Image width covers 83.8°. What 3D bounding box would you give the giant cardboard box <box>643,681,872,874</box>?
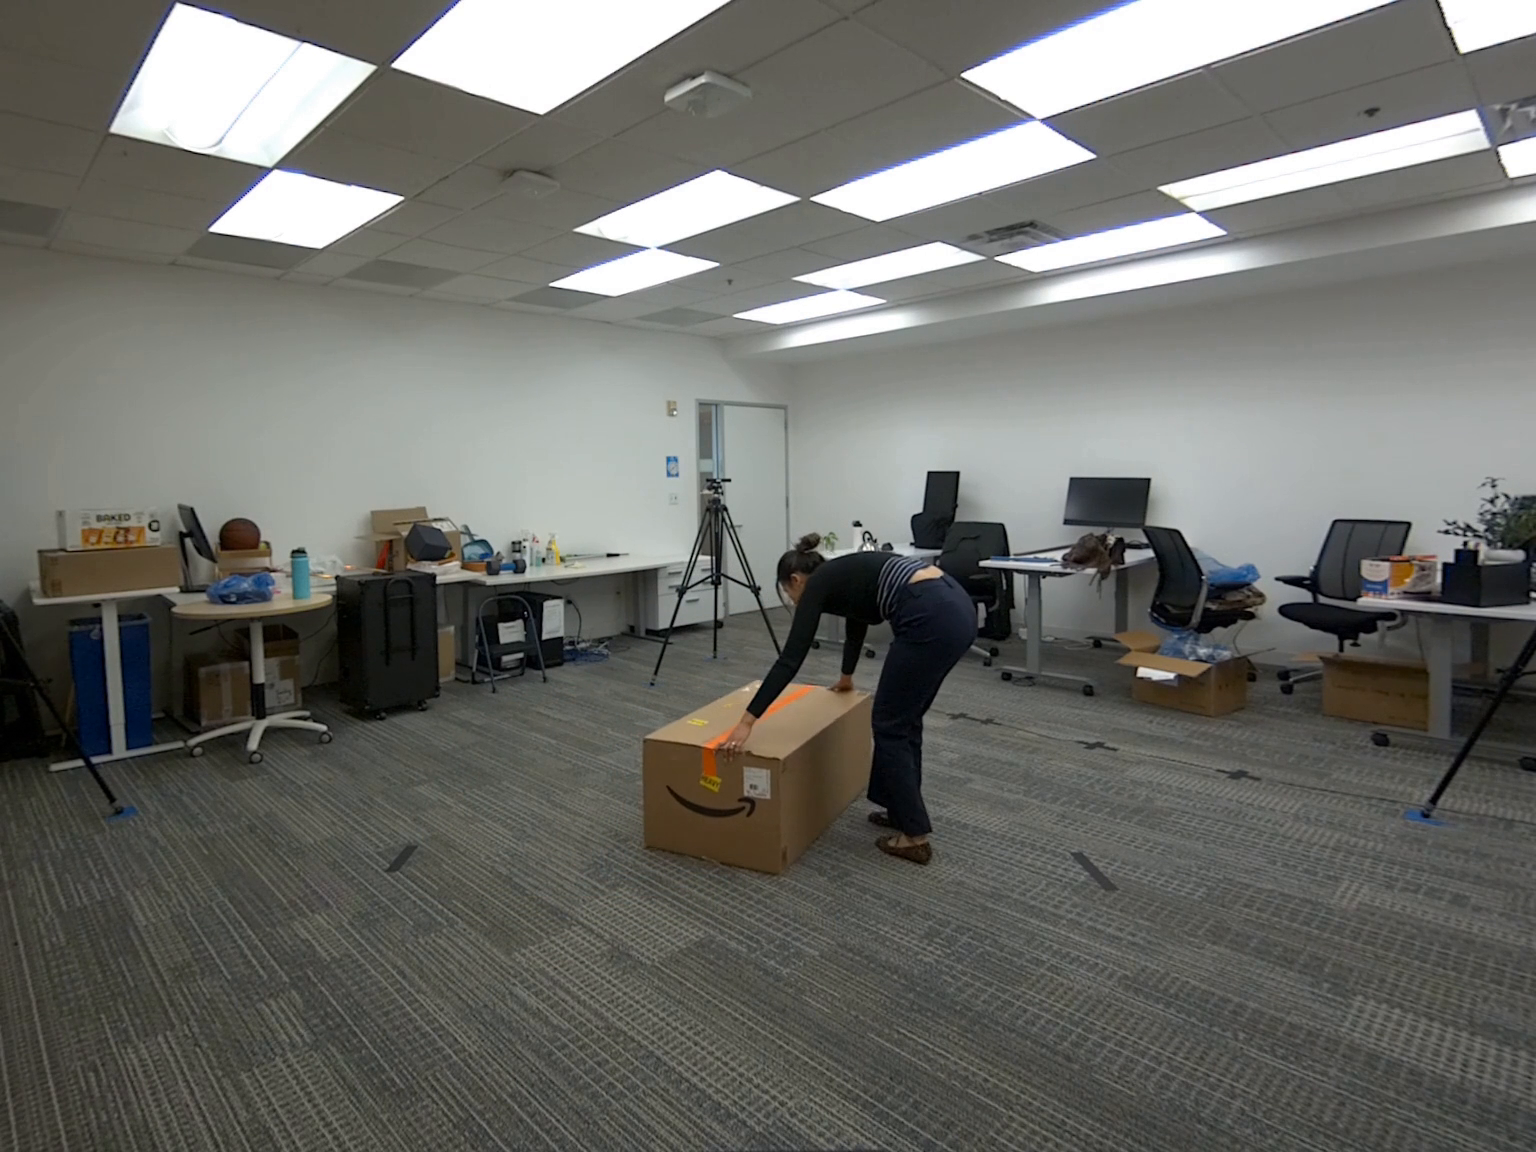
[{"bbox_3d":[-0.003,0.775,3.560,0.591,0.424,1.006,2,7,25],"label":"giant cardboard box"}]
